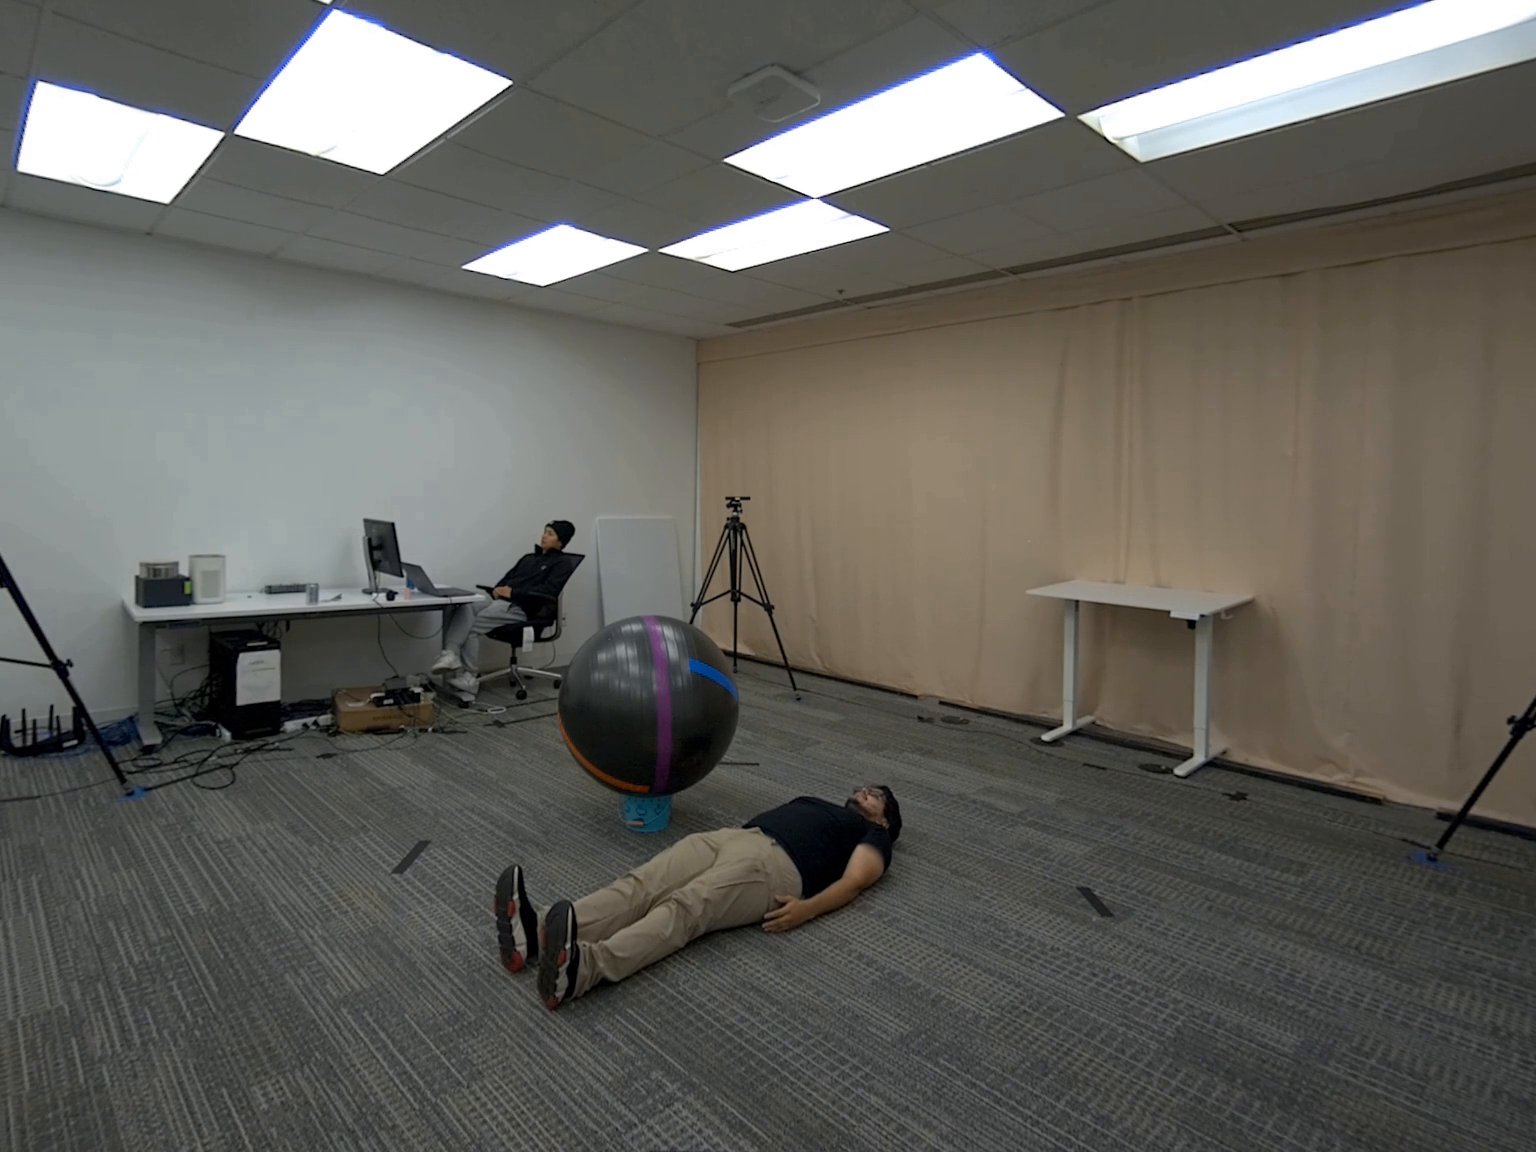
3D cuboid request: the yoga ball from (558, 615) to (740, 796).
[{"bbox_3d":[-0.512,0.551,3.569,0.757,0.755,0.761,1,5,-1],"label":"yoga ball"}]
